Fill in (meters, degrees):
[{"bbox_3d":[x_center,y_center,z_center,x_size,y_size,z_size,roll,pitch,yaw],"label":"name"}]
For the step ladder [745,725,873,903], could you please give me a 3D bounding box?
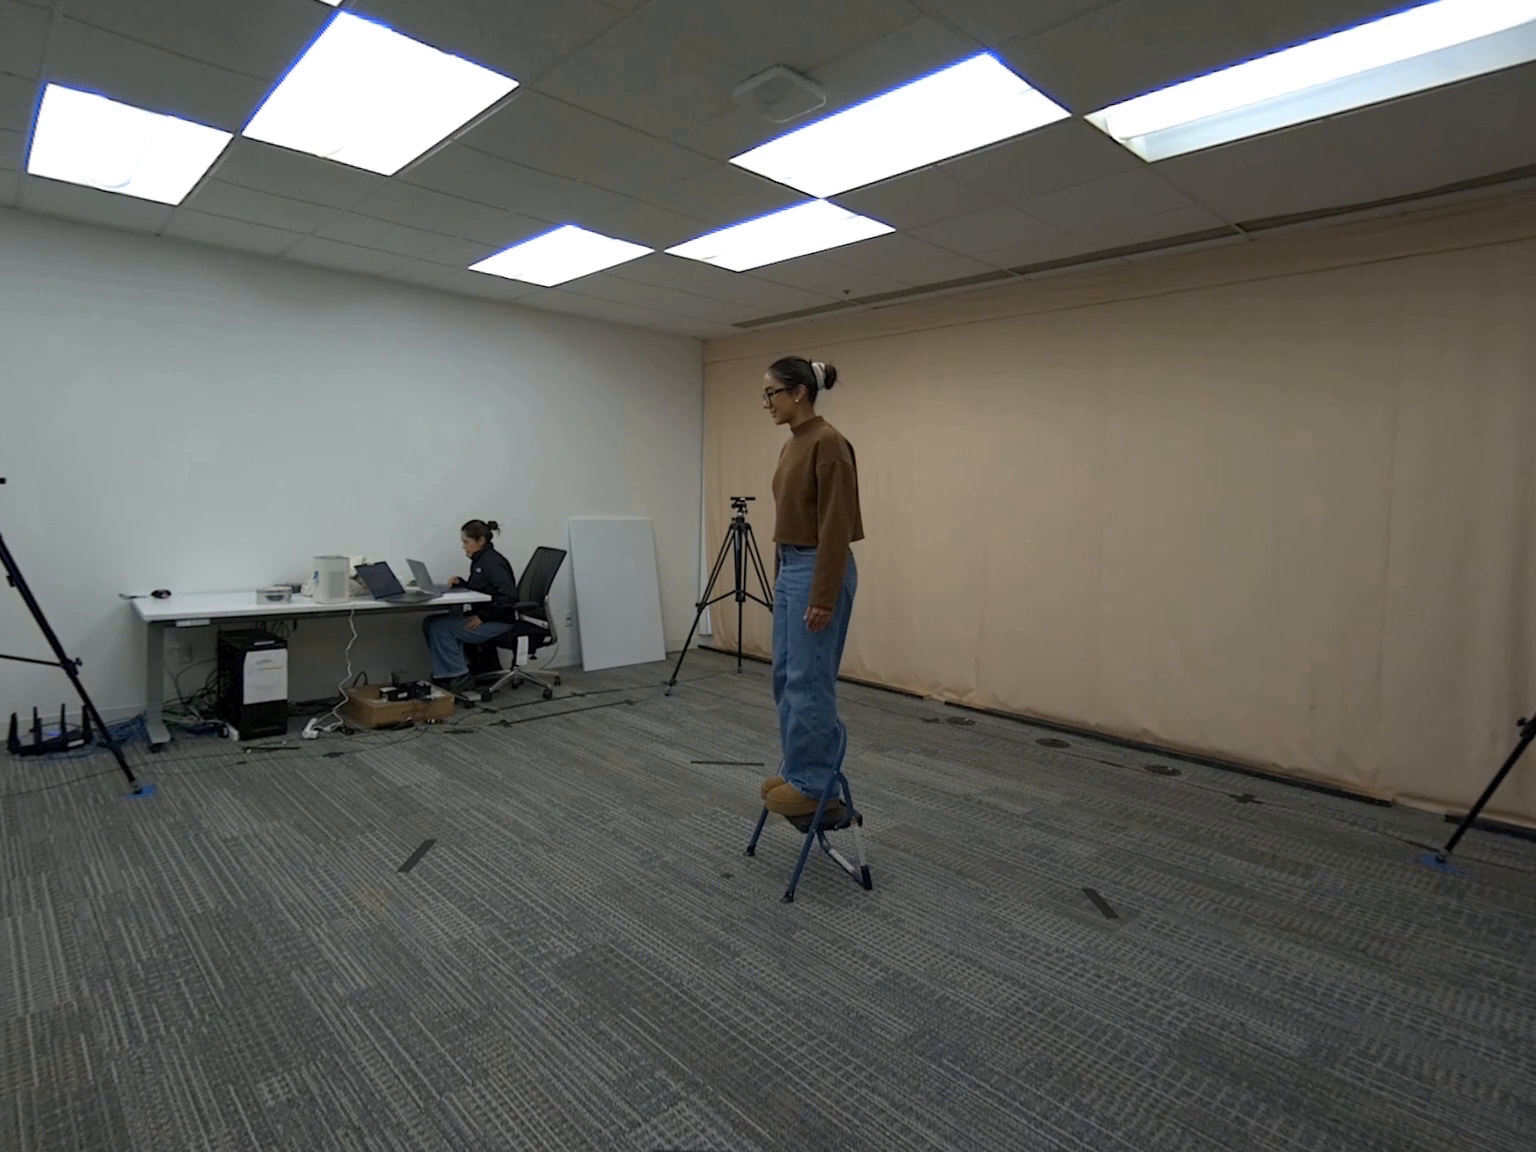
[{"bbox_3d":[0.149,0.812,3.140,0.344,0.605,0.438,0,4,-21],"label":"step ladder"}]
